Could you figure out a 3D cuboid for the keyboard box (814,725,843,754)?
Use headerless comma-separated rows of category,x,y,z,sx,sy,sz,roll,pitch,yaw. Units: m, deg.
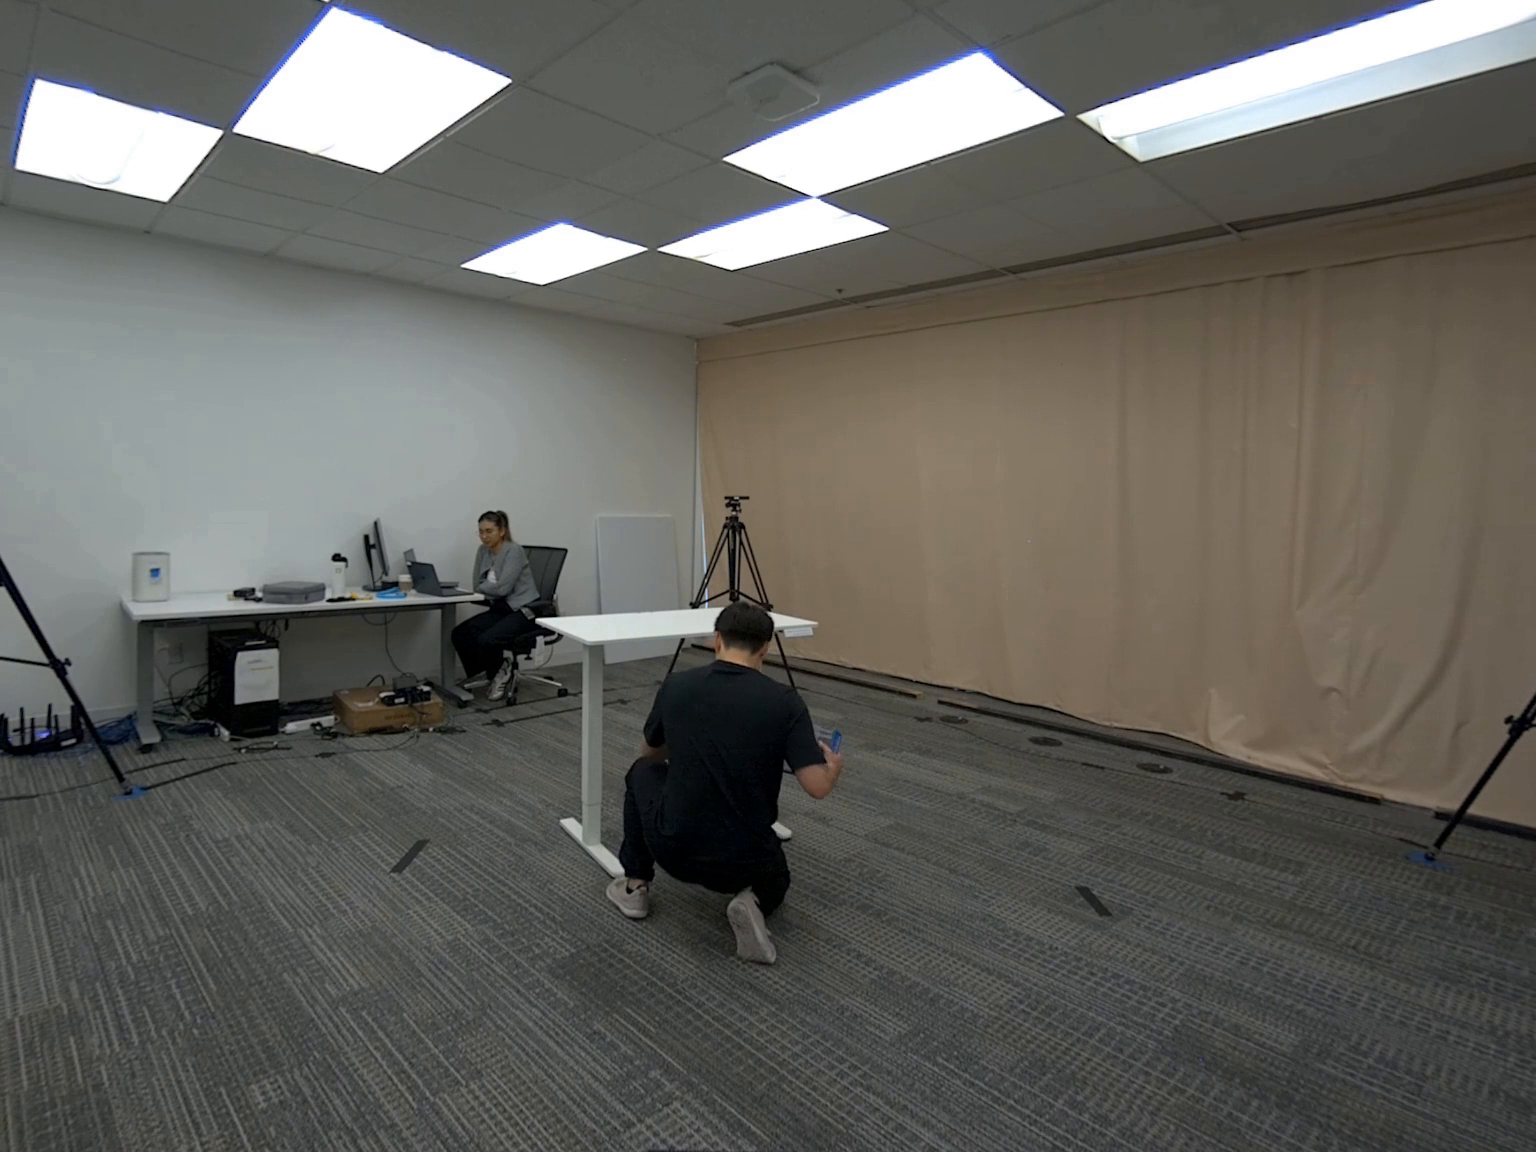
keyboard box,0.026,0.586,2.886,0.447,0.177,0.057,5,-25,31
